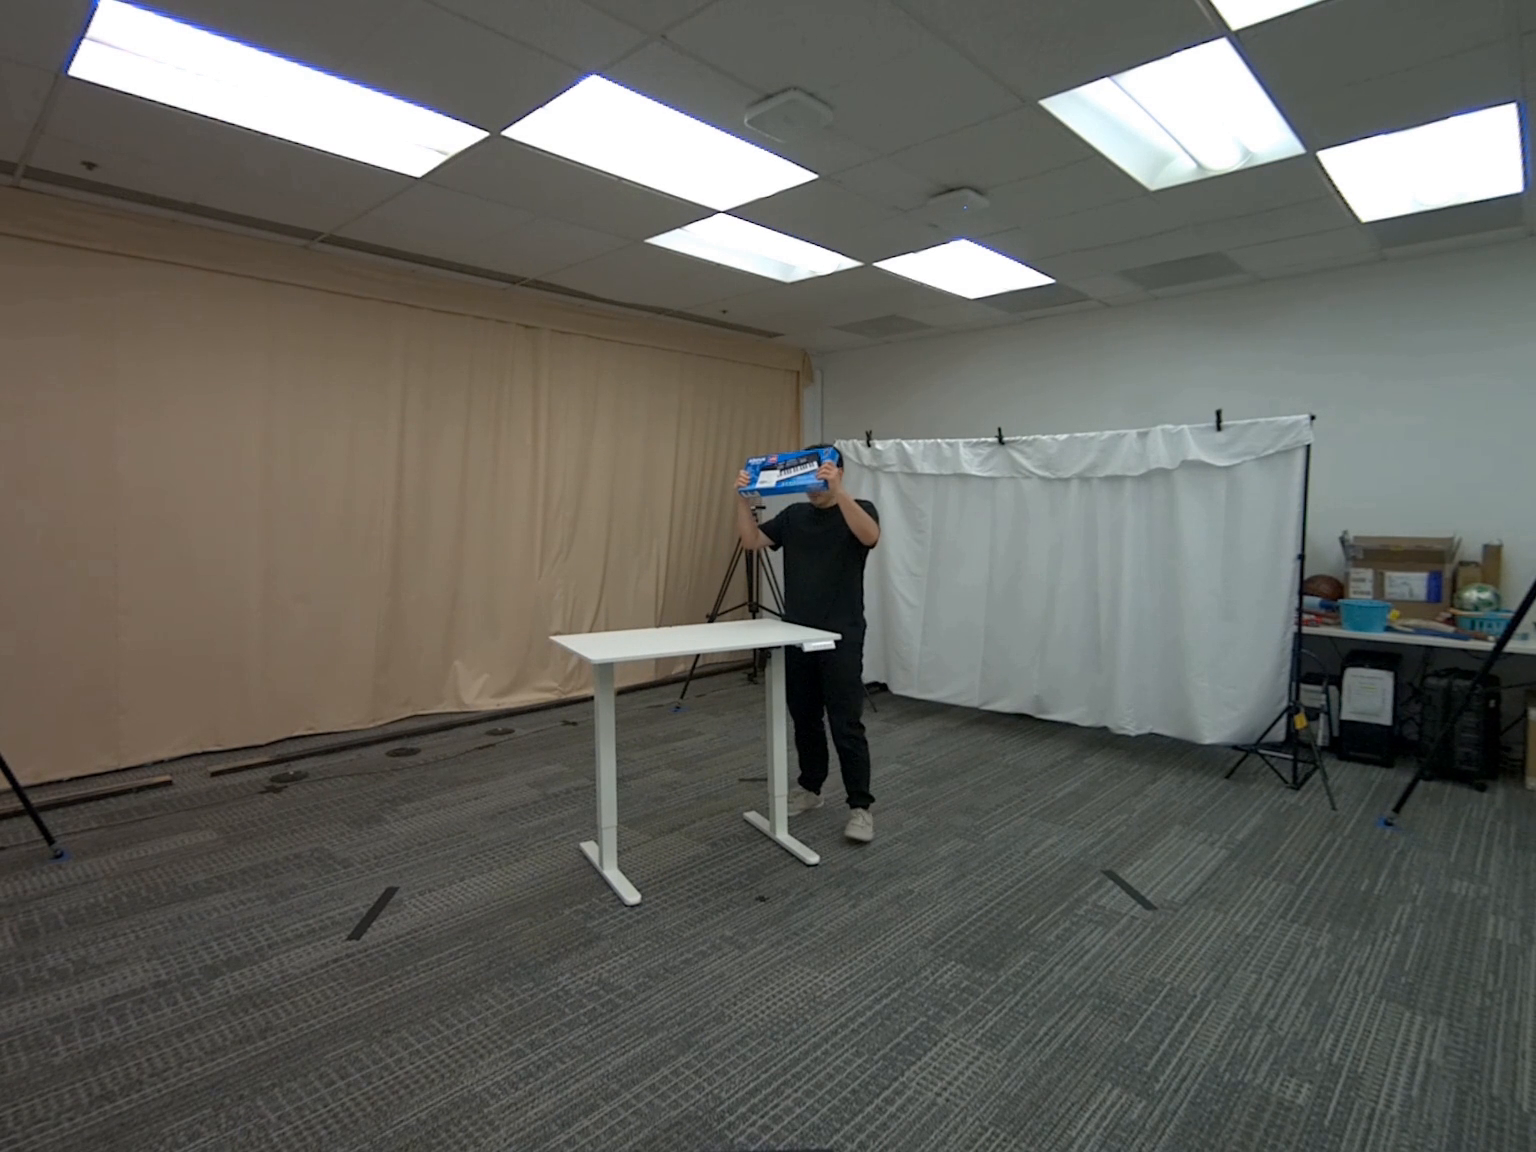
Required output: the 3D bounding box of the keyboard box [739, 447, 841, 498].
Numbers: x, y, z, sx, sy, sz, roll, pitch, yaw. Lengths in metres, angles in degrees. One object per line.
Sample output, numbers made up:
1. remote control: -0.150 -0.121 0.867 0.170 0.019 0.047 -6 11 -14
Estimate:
1. keyboard box: 0.085 -0.423 3.531 0.450 0.177 0.057 -1 -29 38
